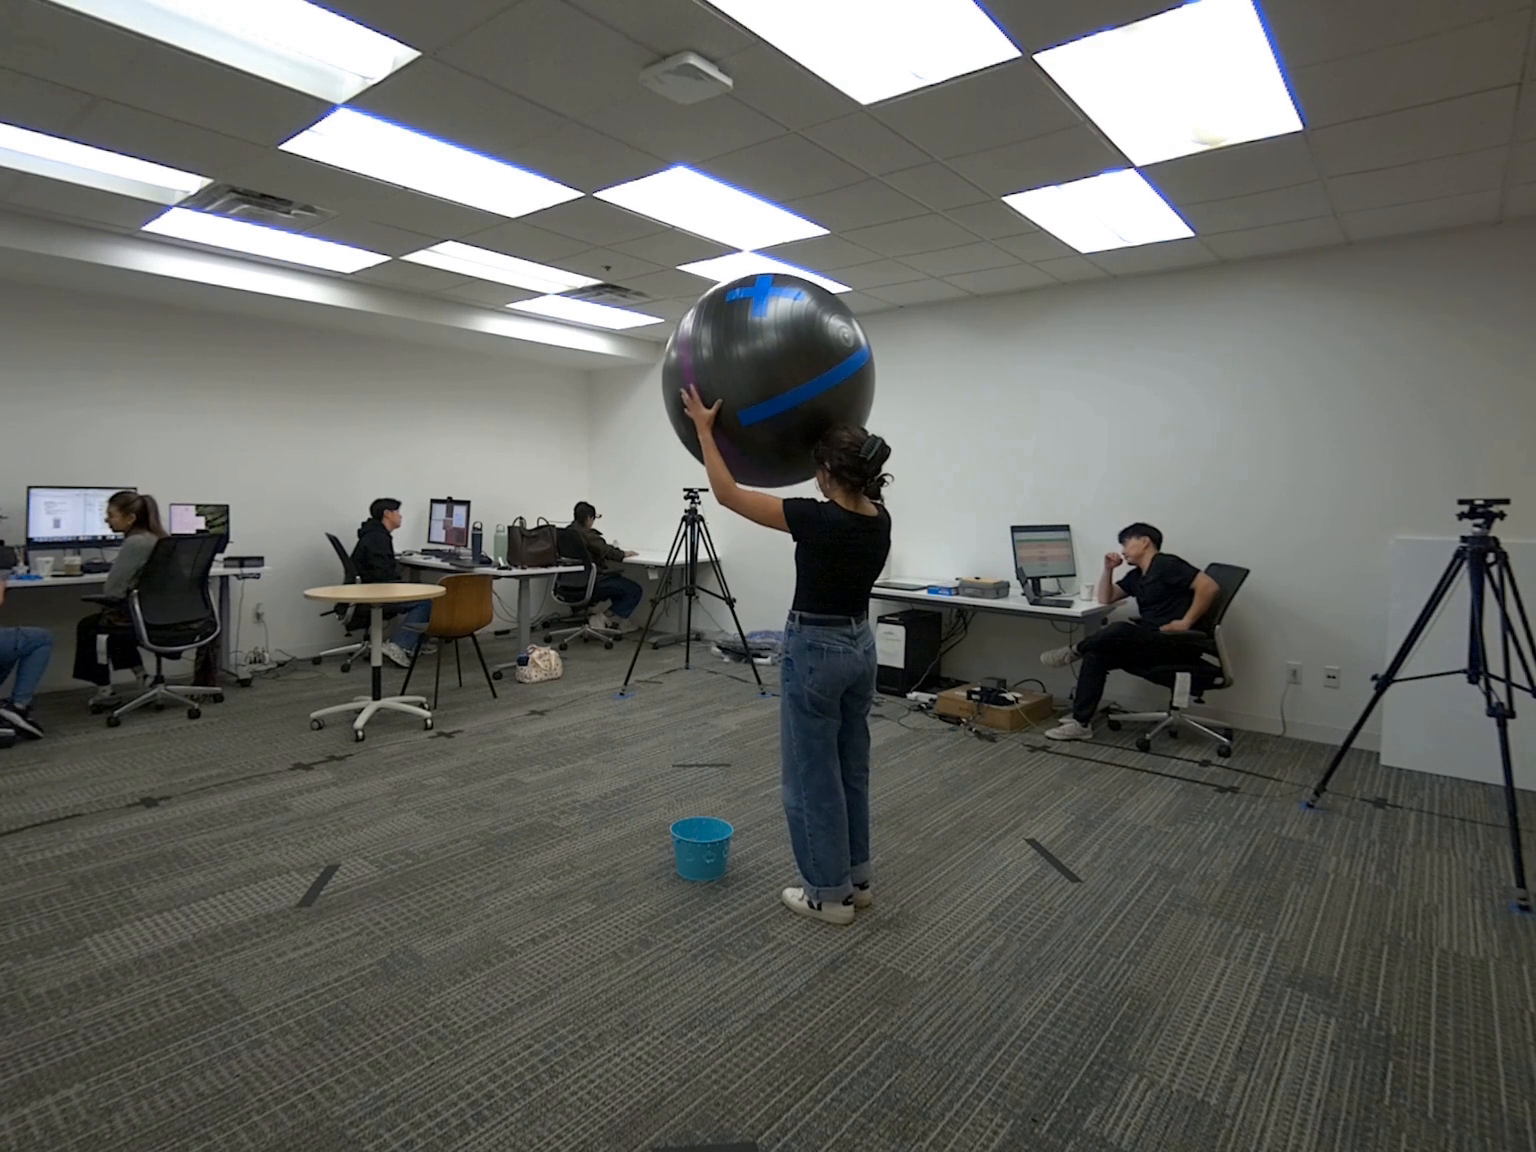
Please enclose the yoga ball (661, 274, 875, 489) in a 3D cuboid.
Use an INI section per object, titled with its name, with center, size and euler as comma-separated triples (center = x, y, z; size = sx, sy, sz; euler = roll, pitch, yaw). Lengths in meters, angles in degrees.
[yoga ball]
center = -0.010, -0.686, 3.046
size = 0.757, 0.756, 0.762
euler = 1, 4, -2
